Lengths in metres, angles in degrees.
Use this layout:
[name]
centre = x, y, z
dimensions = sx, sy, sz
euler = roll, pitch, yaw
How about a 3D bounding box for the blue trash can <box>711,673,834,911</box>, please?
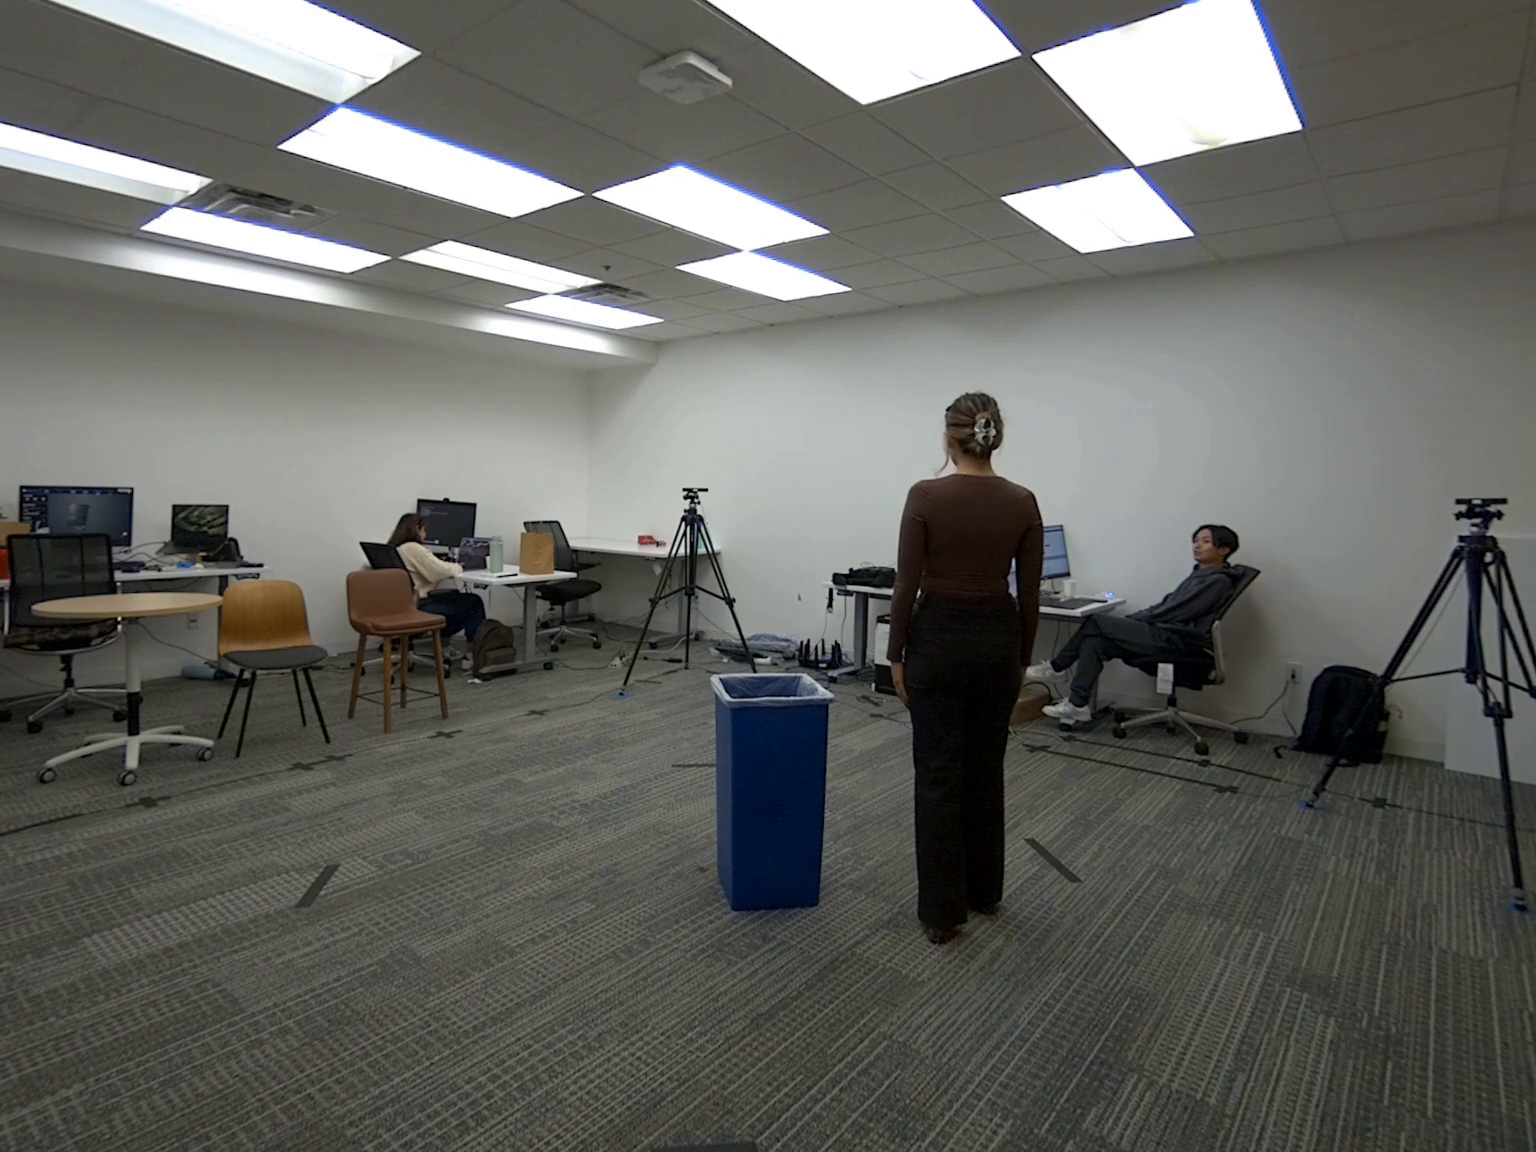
[blue trash can]
centre = -0.013, 0.728, 2.959
dimensions = 0.373, 0.711, 0.380
euler = 0, 4, -13
